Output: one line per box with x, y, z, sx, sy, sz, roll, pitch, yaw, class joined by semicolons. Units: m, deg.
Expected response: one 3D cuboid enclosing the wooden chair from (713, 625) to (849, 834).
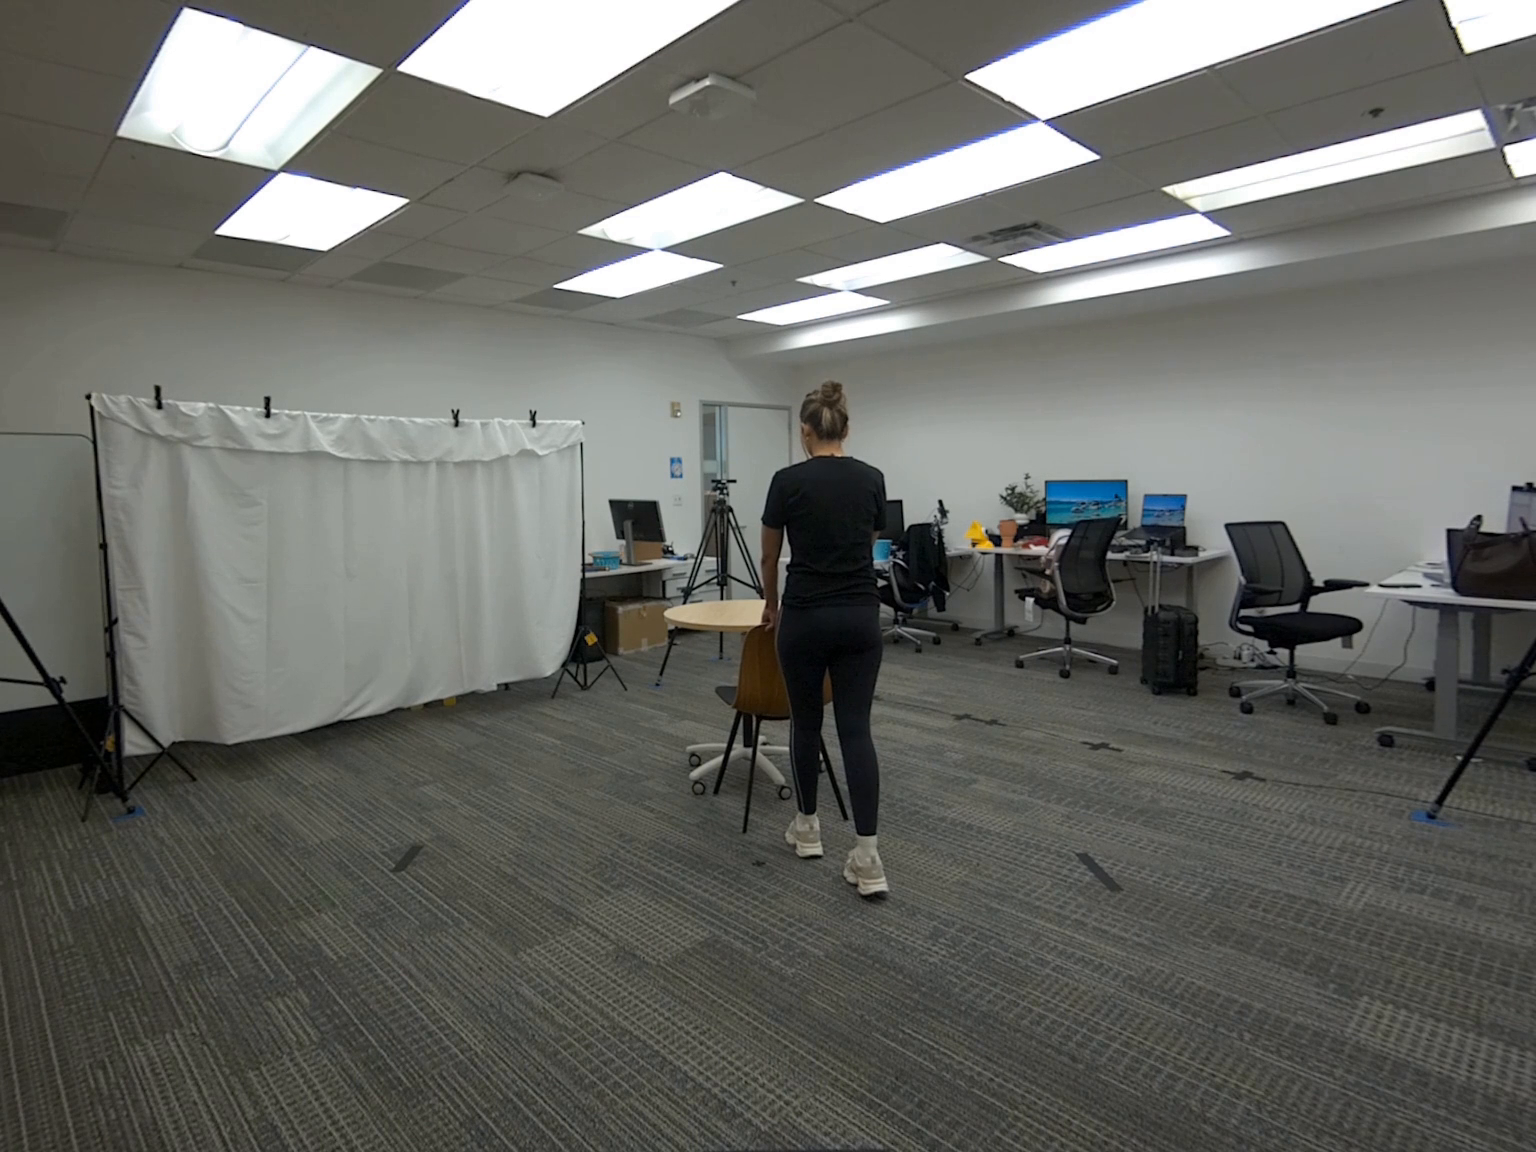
0.034;0.560;3.621;0.471;0.871;0.535;-3;9;-17;wooden chair
